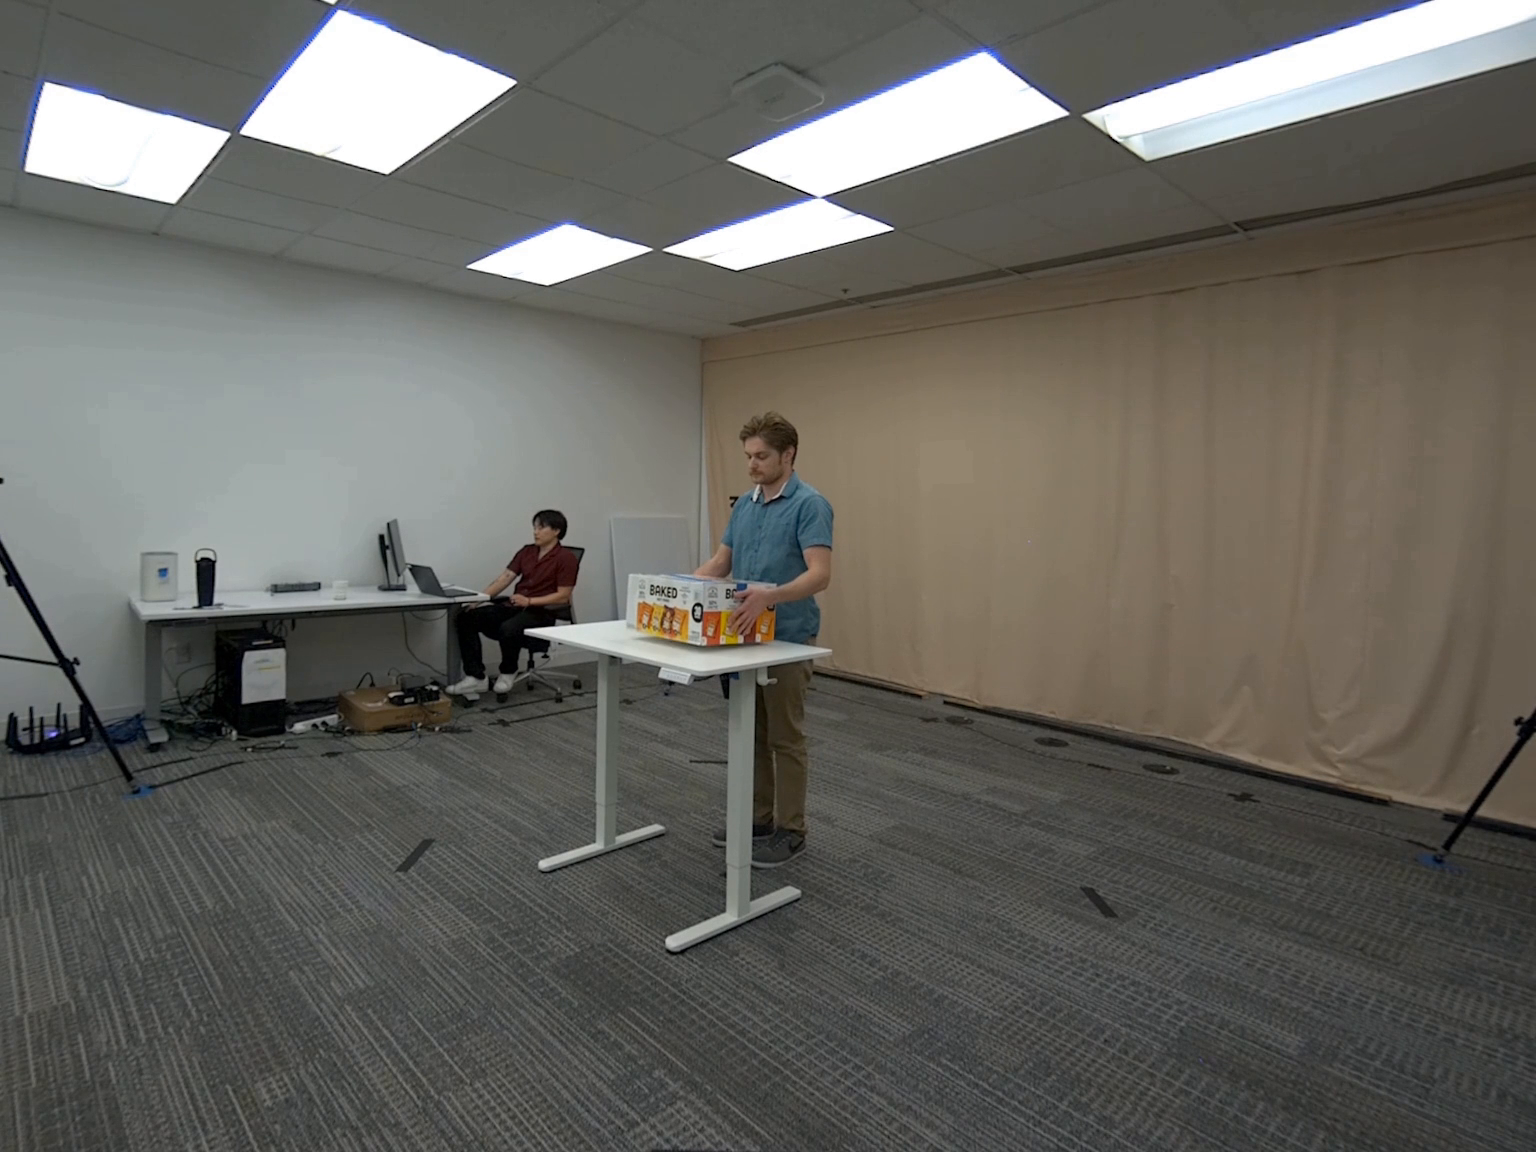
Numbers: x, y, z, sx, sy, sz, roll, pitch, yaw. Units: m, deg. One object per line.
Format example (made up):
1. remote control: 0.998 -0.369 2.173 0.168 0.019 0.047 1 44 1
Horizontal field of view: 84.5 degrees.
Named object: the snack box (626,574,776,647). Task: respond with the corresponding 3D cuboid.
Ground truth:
1. snack box: -0.243 0.111 2.956 0.415 0.205 0.332 6 2 45
